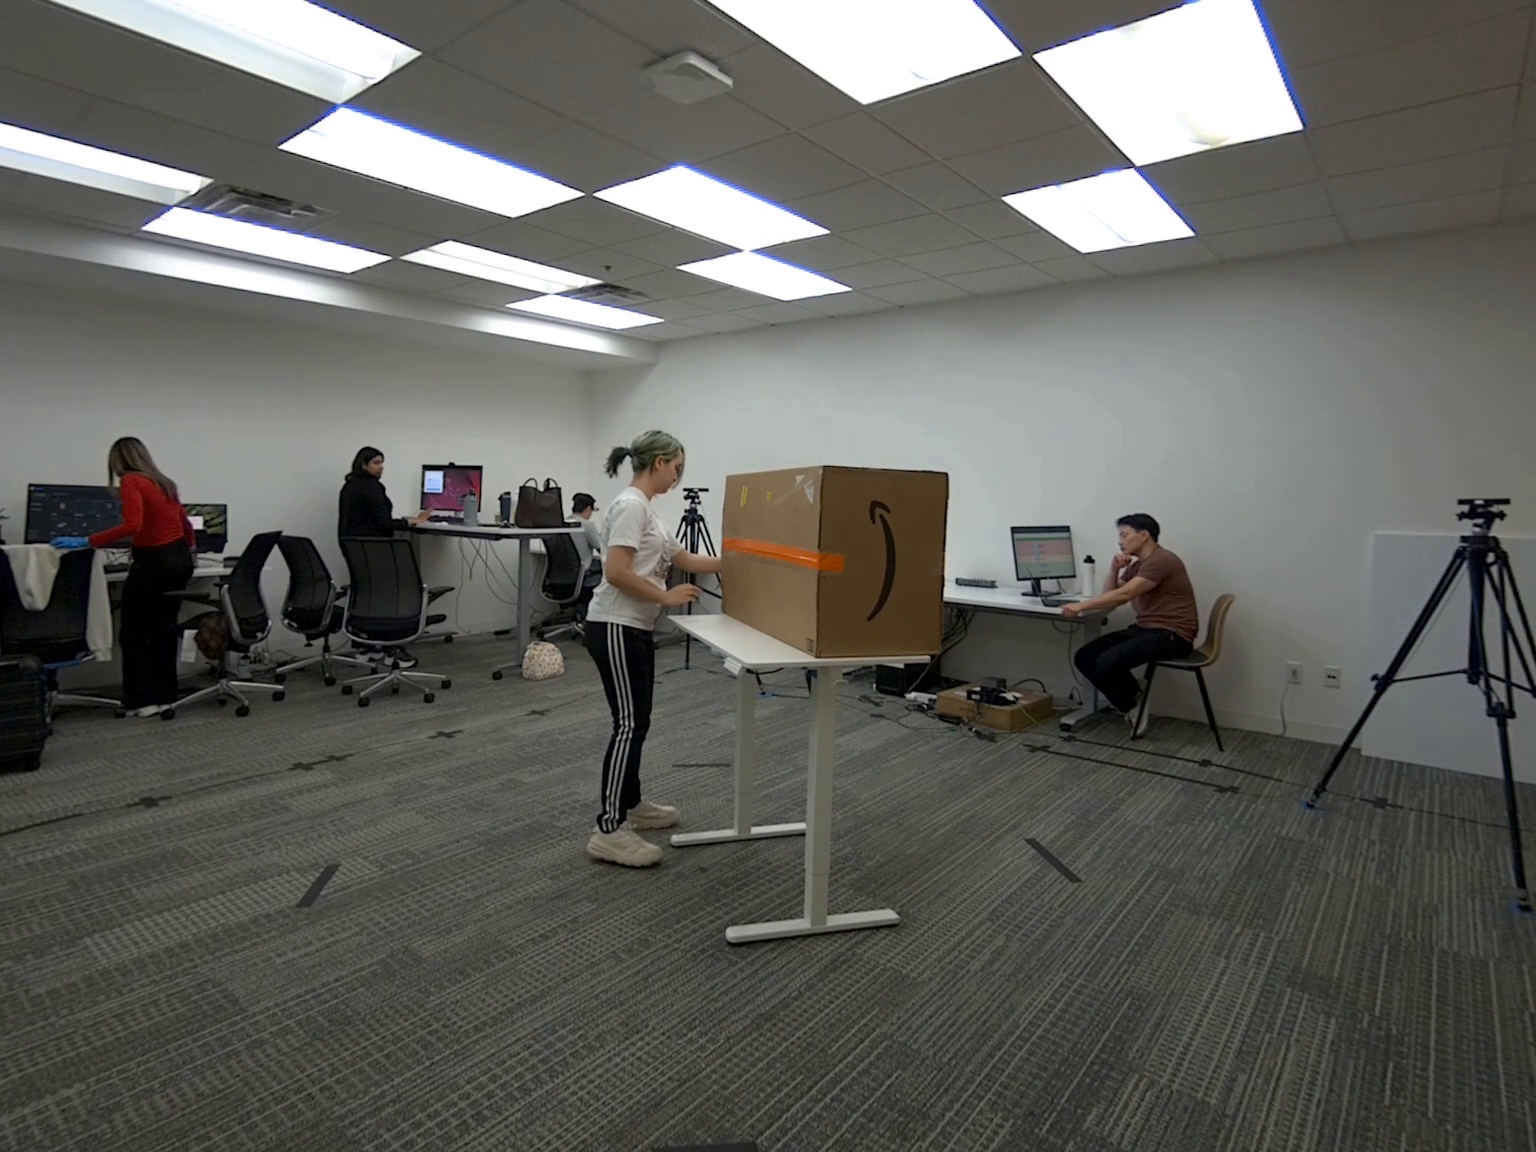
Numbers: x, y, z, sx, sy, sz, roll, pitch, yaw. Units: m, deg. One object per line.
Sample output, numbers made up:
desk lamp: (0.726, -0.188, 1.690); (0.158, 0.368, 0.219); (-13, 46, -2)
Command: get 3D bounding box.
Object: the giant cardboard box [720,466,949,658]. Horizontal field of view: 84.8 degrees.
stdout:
giant cardboard box: (0.175, -0.091, 3.082); (0.439, 0.582, 1.048); (0, 4, -19)
